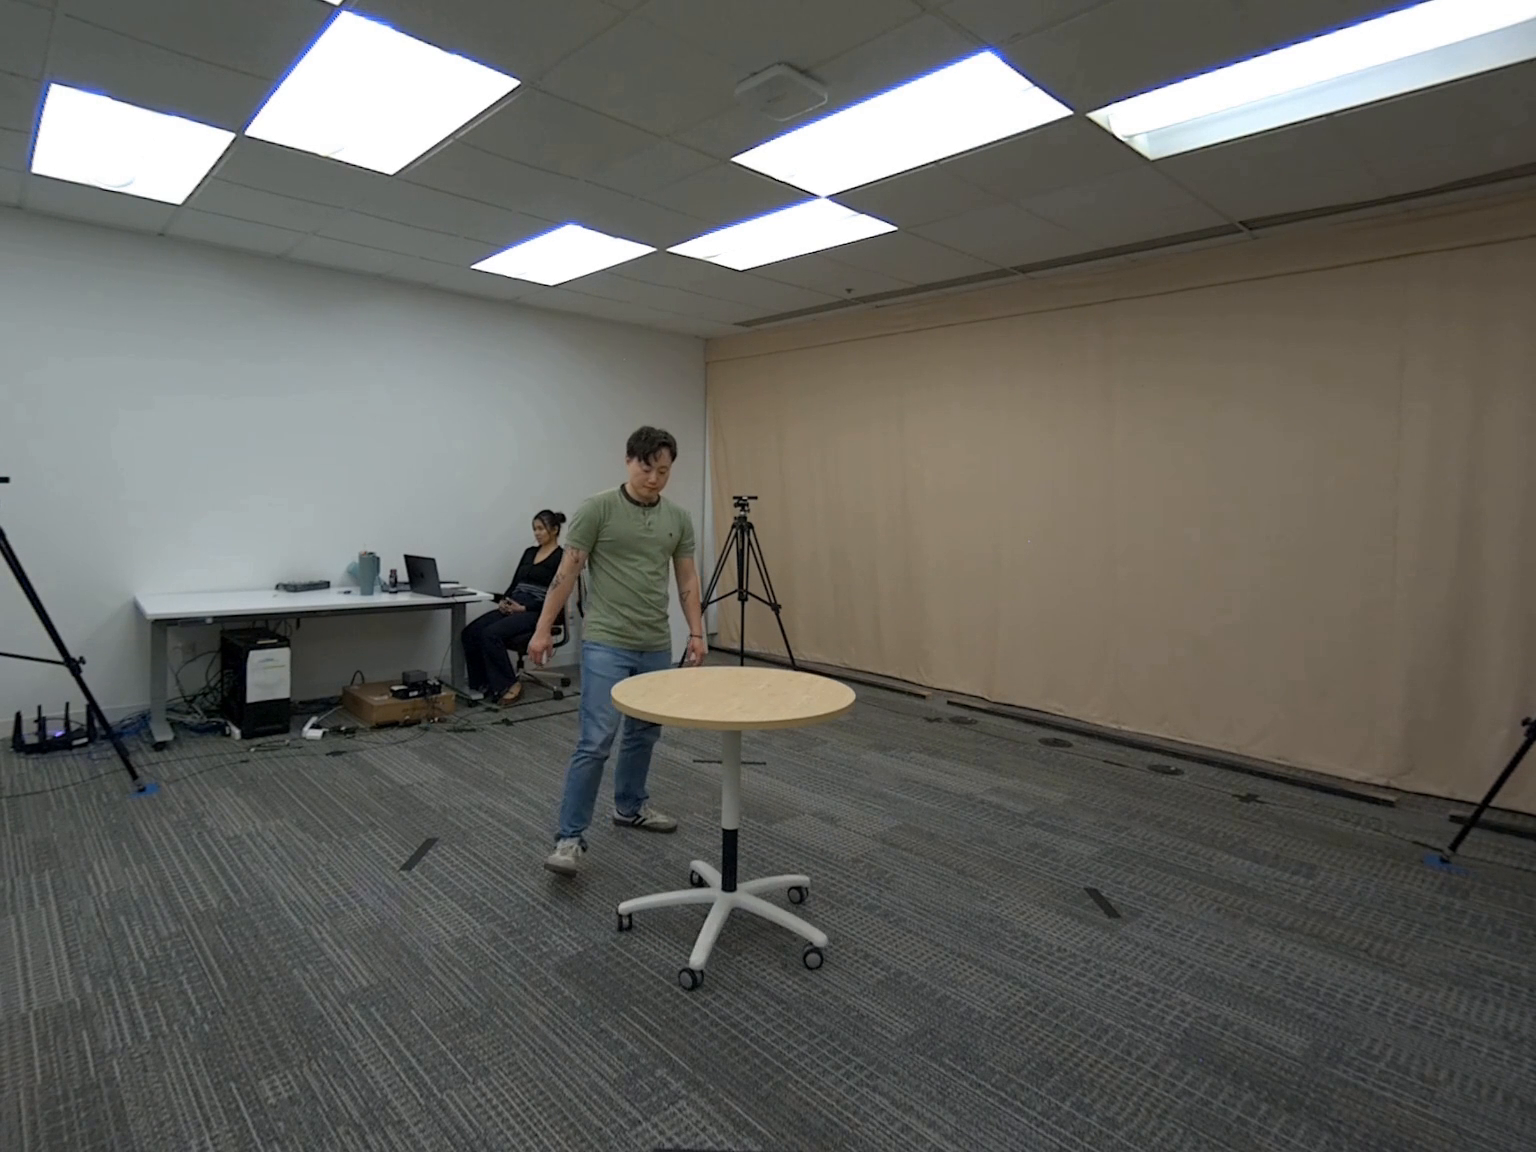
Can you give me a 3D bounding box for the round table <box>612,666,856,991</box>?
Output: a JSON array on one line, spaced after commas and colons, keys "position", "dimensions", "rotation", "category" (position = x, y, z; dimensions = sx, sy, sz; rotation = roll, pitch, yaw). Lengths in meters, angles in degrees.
[{"position": [-0.121, 0.754, 2.674], "dimensions": [0.763, 0.792, 0.767], "rotation": [1, 4, -1], "category": "round table"}]
